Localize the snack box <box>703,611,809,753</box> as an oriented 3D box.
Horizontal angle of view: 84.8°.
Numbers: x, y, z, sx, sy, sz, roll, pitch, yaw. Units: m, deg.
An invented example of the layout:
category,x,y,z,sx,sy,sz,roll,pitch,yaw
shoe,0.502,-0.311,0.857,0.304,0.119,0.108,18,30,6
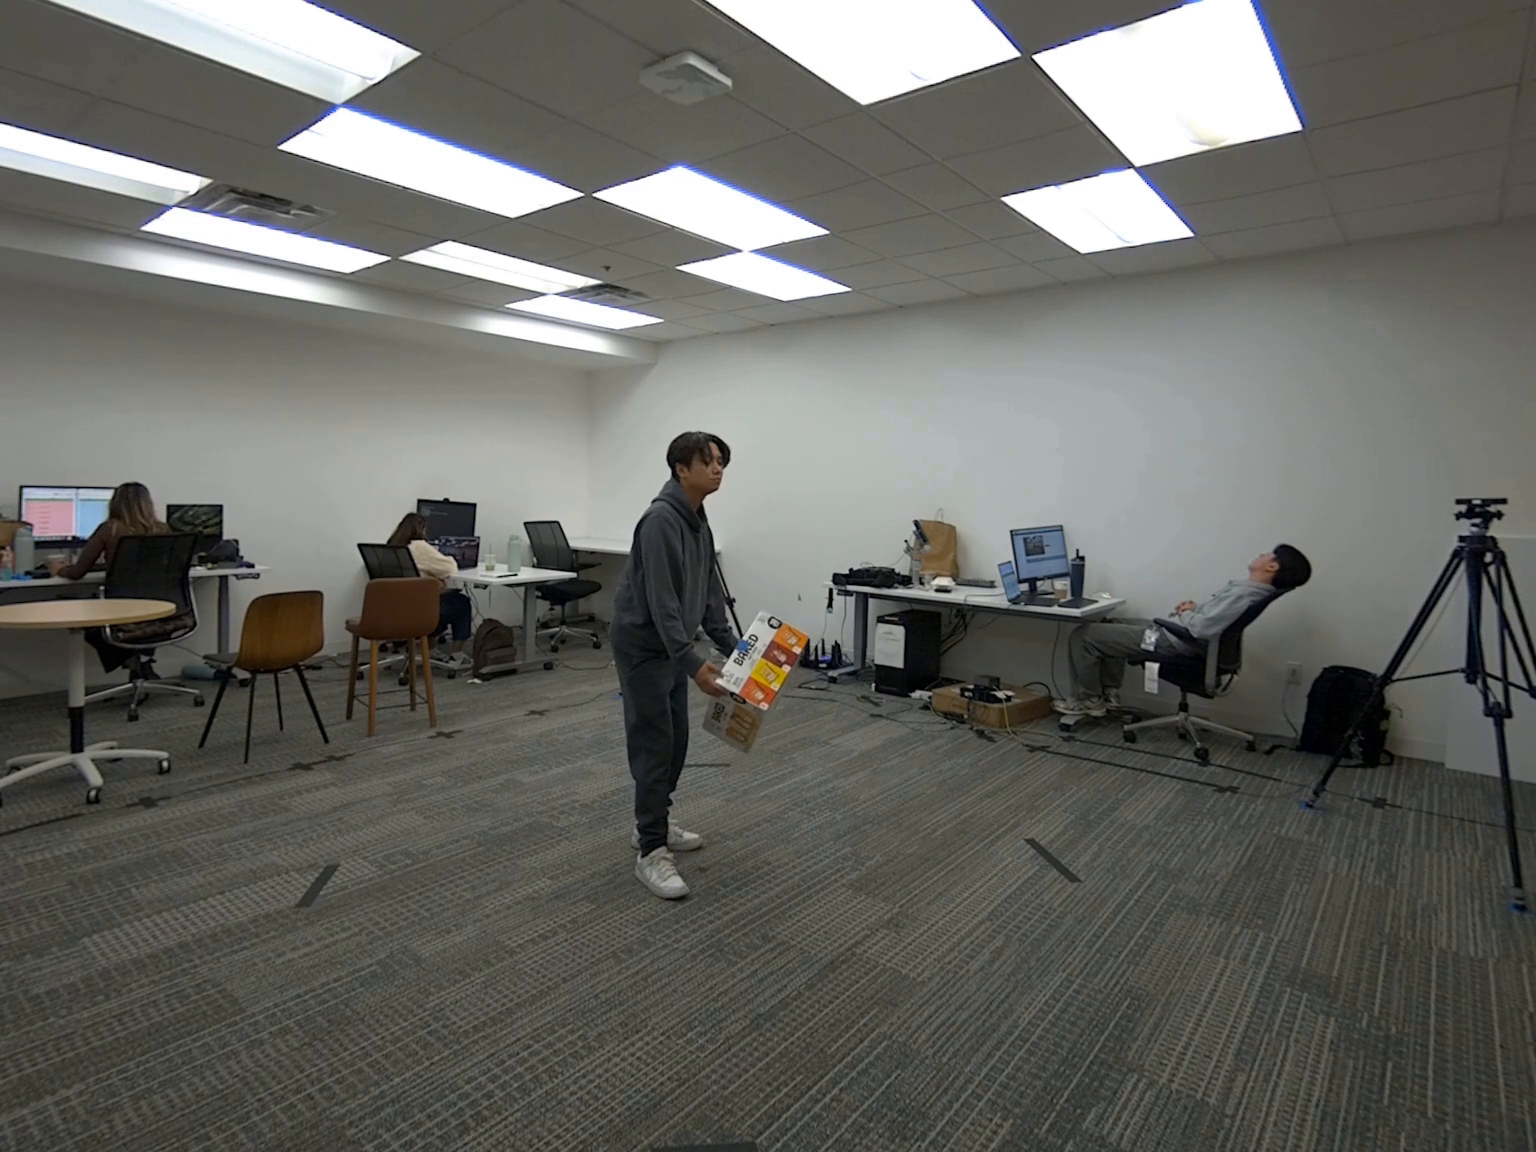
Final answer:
category,x,y,z,sx,sy,sz,roll,pitch,yaw
snack box,-0.057,0.396,3.107,0.209,0.342,0.397,28,-34,9
